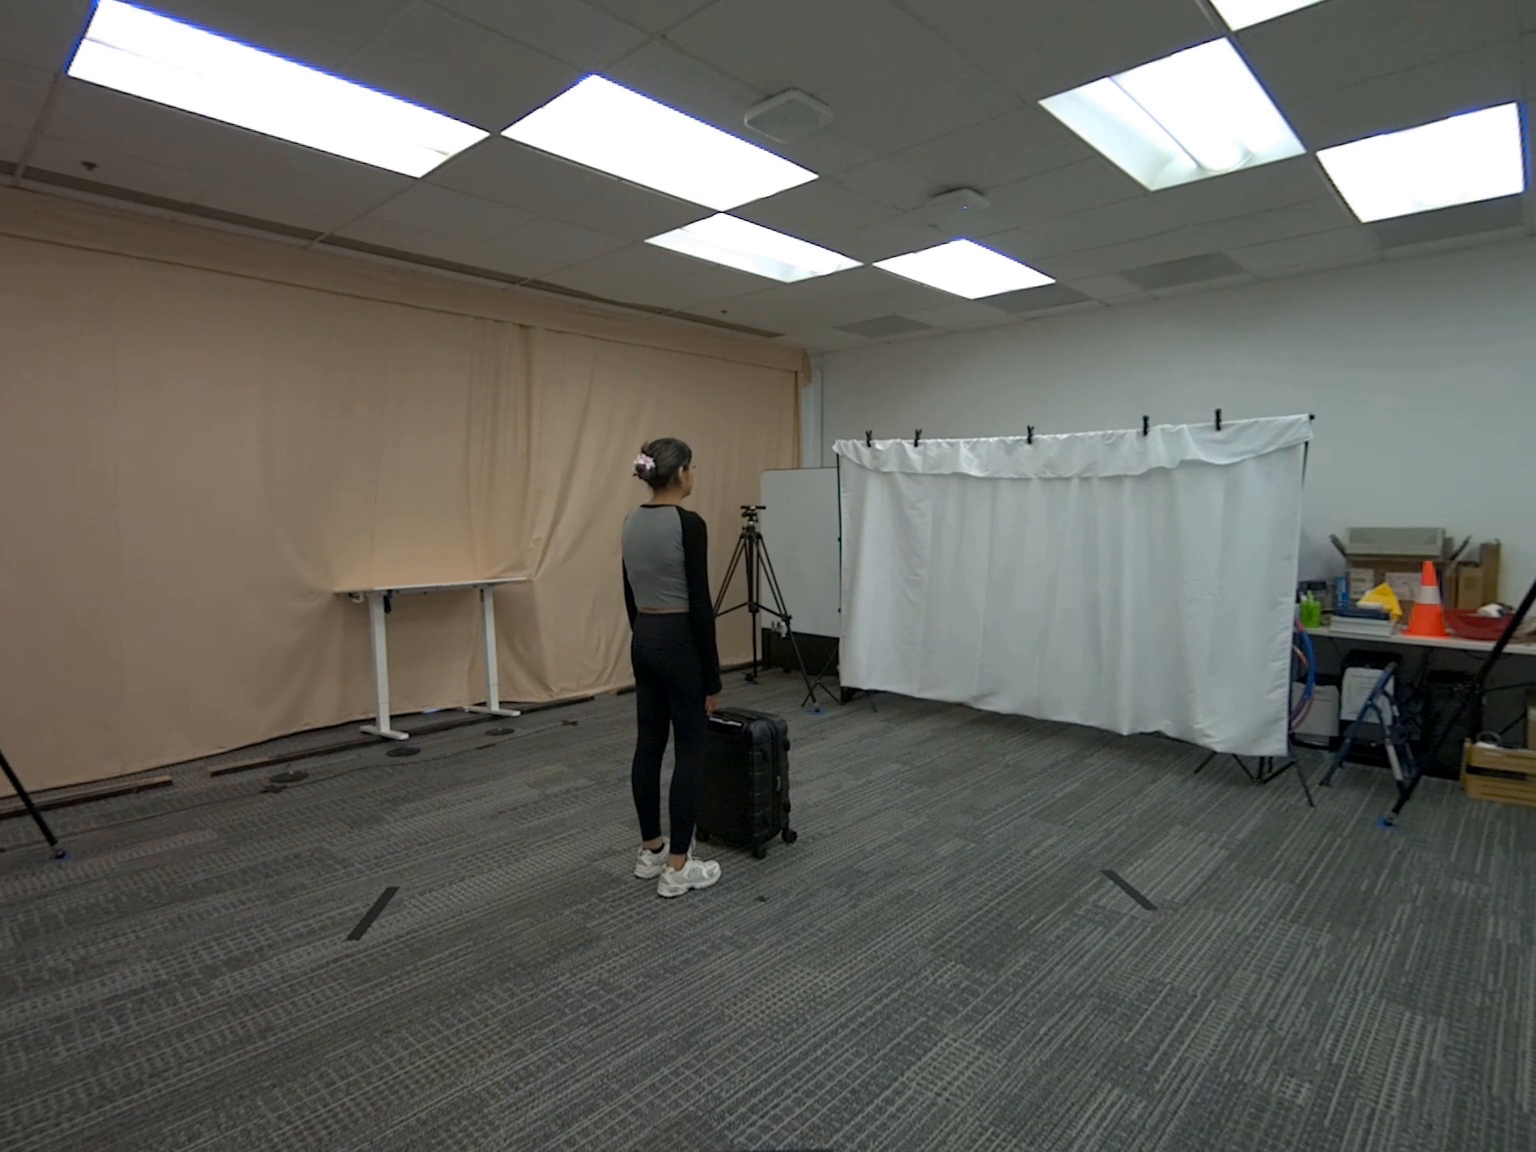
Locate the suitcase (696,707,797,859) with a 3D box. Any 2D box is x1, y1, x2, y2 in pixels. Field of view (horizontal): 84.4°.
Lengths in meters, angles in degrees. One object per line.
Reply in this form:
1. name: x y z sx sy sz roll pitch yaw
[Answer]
1. suitcase: -0.105 0.825 3.478 0.387 0.548 0.241 2 5 38
